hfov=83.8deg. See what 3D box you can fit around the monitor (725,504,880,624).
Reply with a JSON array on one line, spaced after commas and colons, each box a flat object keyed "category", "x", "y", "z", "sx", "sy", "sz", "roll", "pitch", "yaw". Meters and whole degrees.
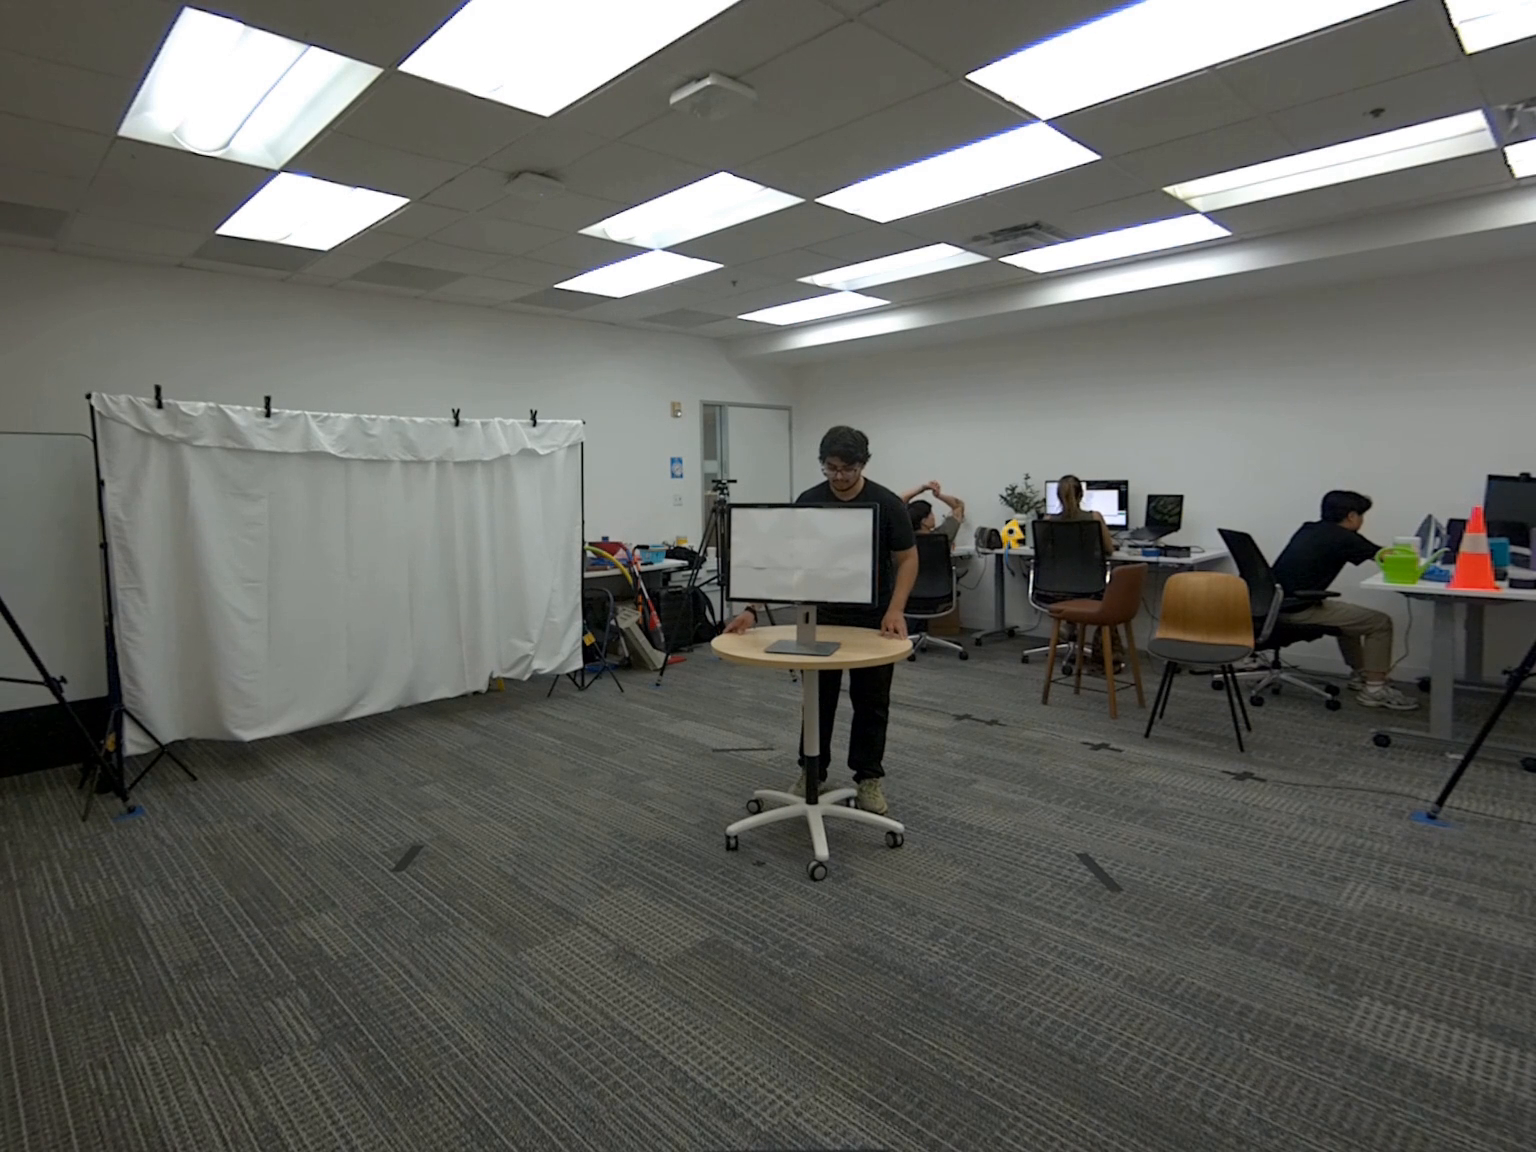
[{"category": "monitor", "x": 0.135, "y": 0.008, "z": 3.129, "sx": 0.576, "sy": 0.554, "sz": 0.206, "roll": 1, "pitch": 1, "yaw": 20}]
